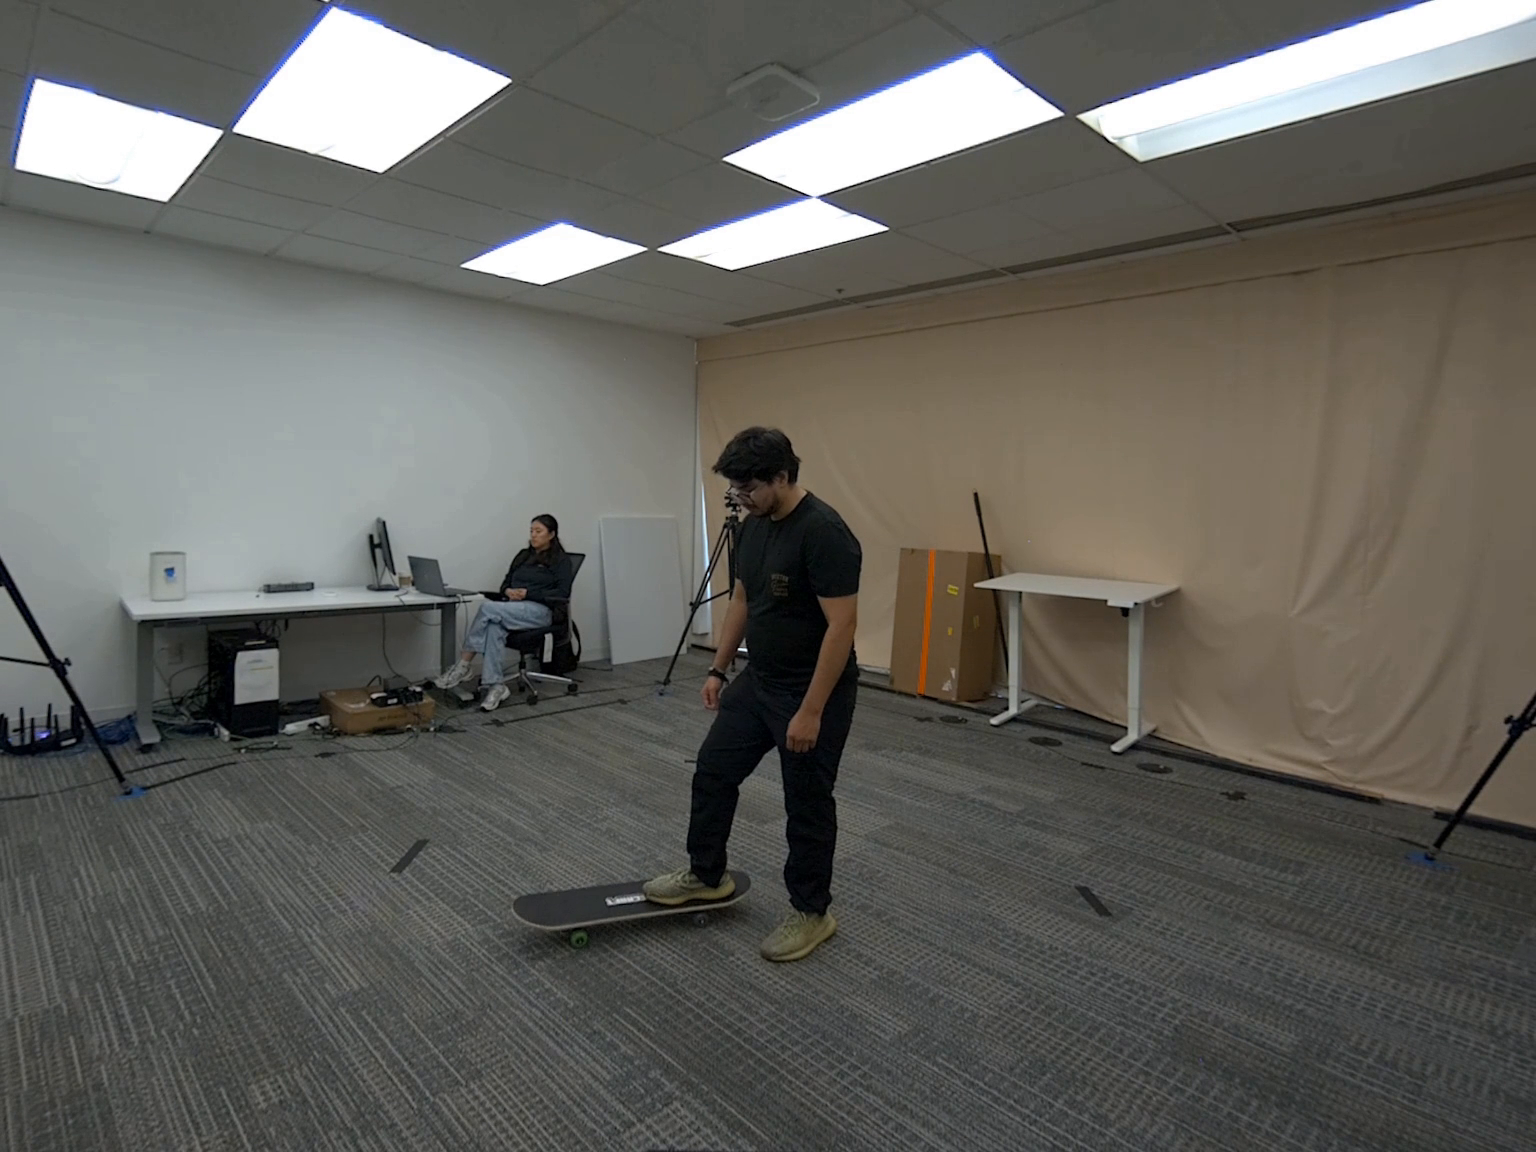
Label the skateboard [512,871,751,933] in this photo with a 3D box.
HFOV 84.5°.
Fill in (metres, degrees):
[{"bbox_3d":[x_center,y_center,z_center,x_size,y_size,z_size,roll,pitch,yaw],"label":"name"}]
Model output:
[{"bbox_3d":[-0.427,1.070,2.726,0.773,0.110,0.197,1,9,-20],"label":"skateboard"}]
